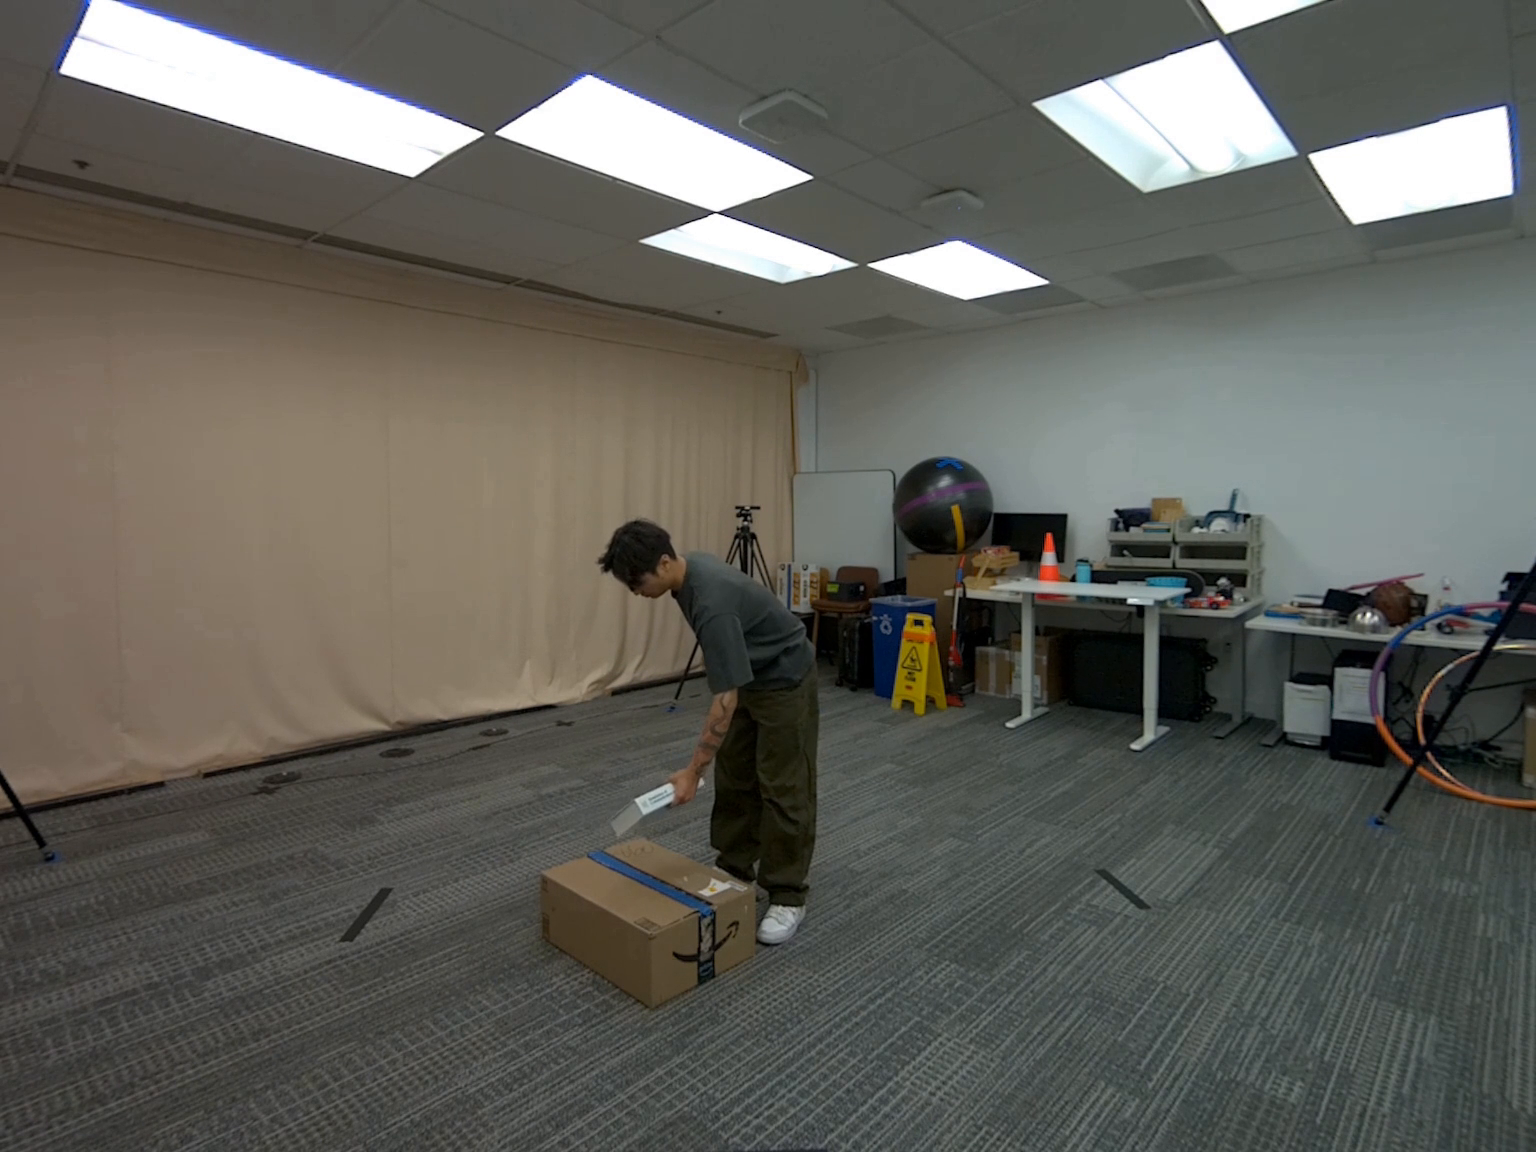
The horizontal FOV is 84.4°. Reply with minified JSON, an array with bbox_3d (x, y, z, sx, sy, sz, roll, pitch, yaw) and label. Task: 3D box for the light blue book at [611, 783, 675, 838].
[{"bbox_3d":[-0.351,0.722,2.658,0.254,0.060,0.193,-14,-24,-47],"label":"light blue book"}]
